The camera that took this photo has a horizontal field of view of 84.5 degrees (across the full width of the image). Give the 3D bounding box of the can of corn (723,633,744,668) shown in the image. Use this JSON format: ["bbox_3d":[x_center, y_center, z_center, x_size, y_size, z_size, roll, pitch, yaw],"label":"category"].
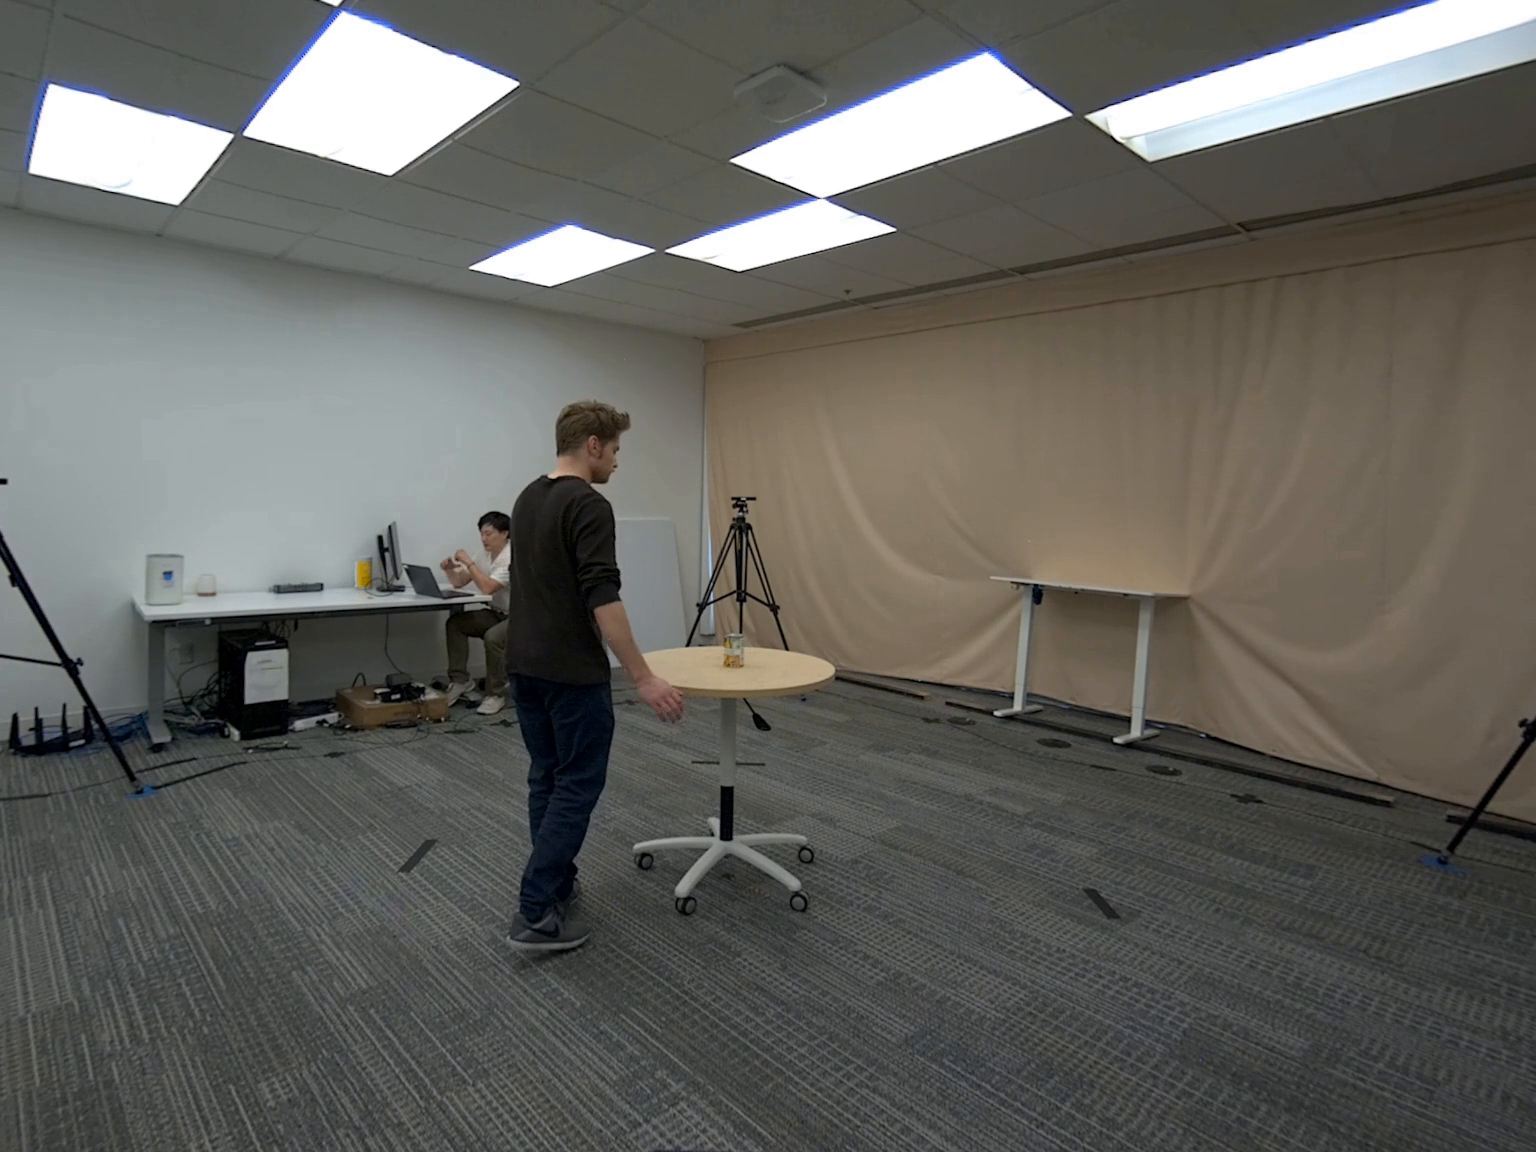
[{"bbox_3d":[-0.127,0.272,3.051,0.074,0.111,0.074,0,5,-1],"label":"can of corn"}]
